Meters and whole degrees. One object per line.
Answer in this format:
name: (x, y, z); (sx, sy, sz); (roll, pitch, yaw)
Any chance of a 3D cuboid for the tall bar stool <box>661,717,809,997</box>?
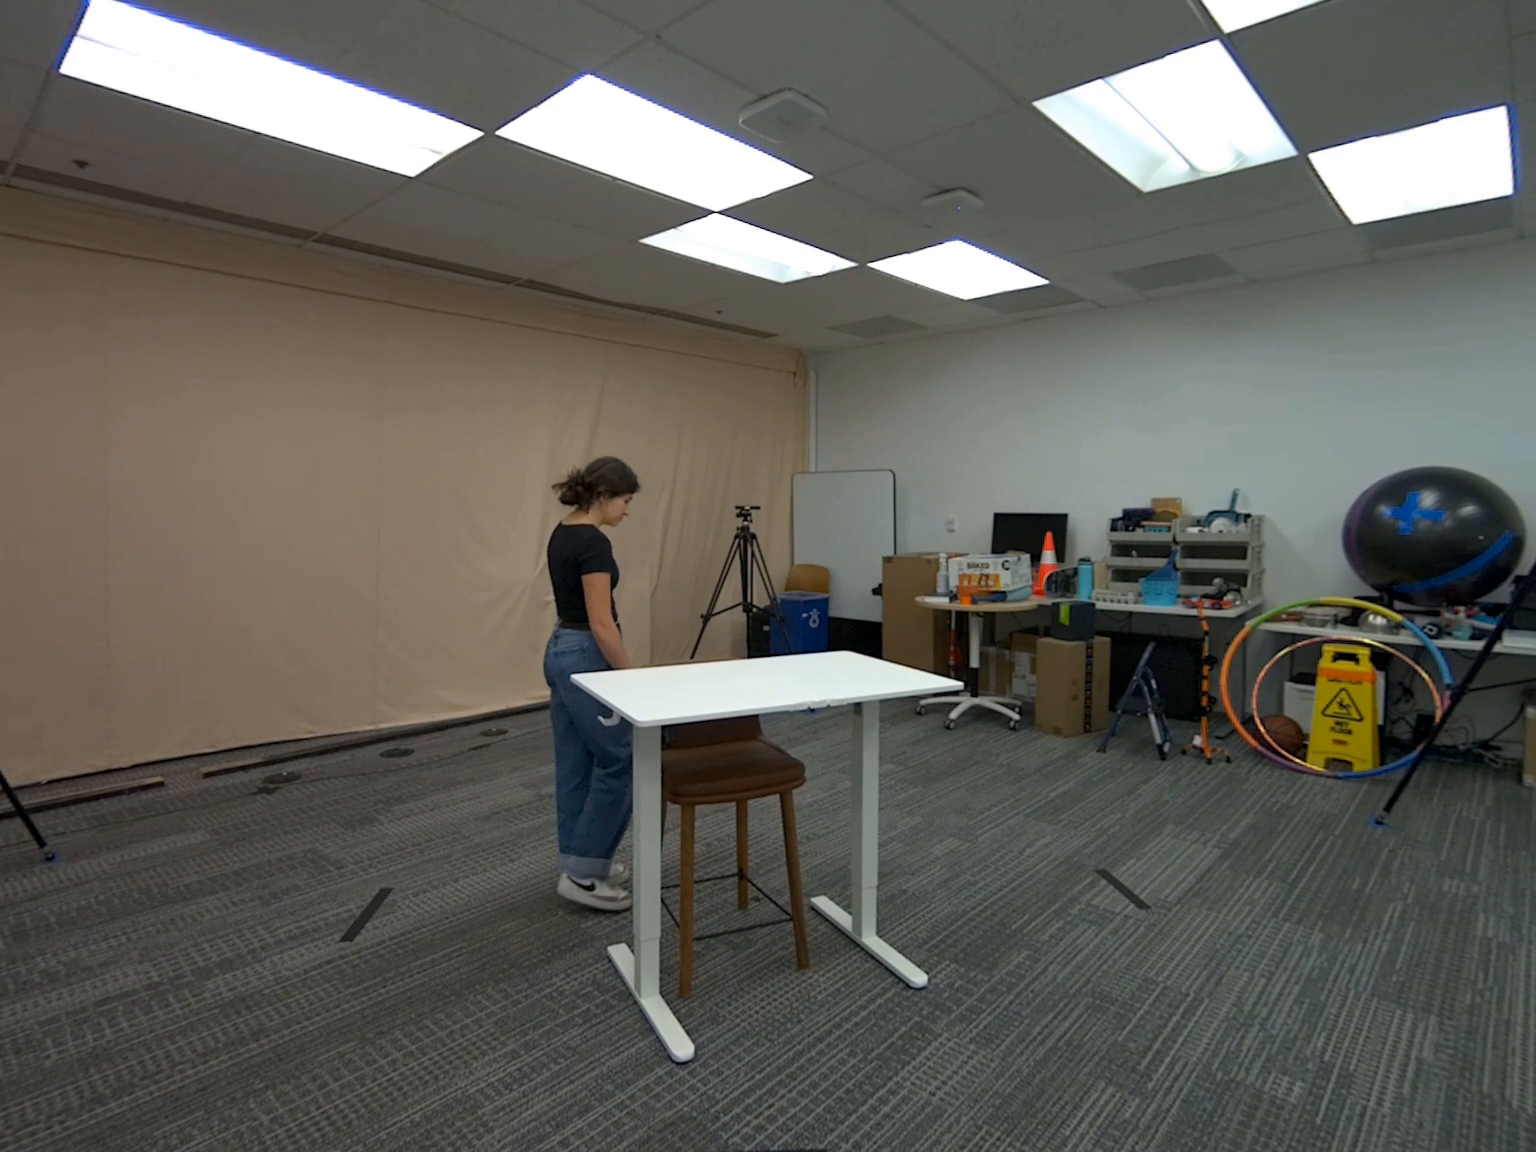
tall bar stool: (-0.155, 0.746, 2.642); (0.446, 0.889, 0.479); (-2, 2, -24)
